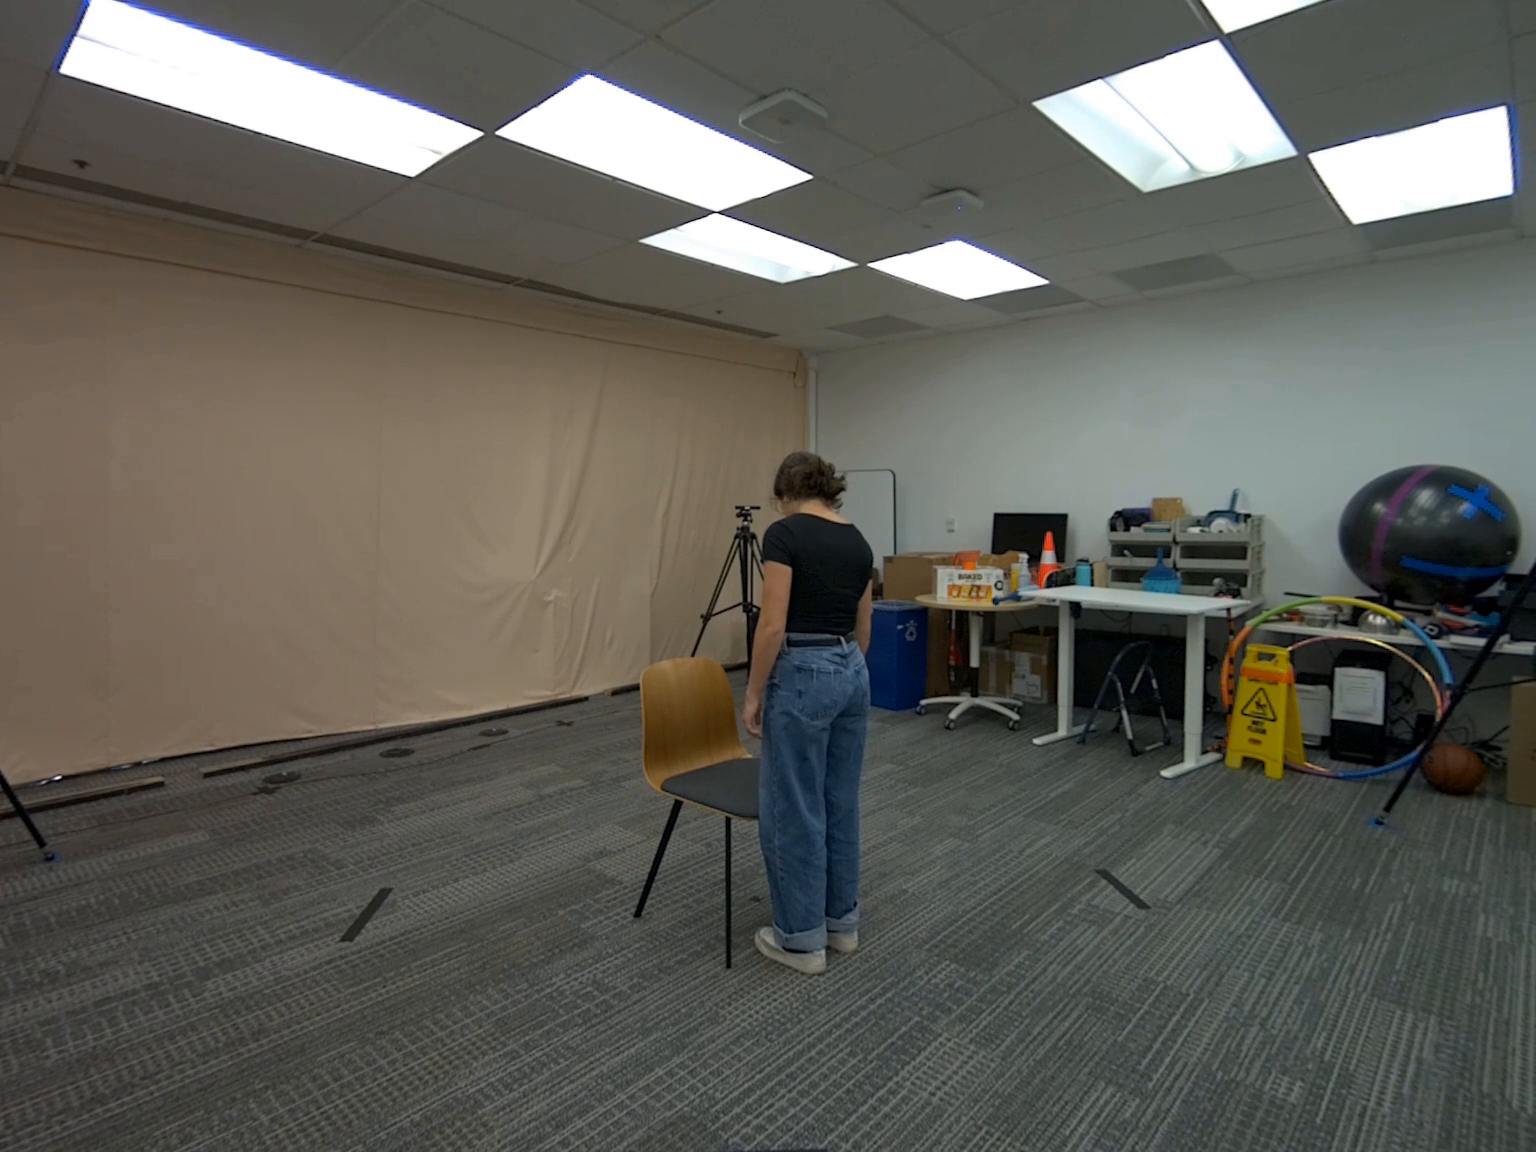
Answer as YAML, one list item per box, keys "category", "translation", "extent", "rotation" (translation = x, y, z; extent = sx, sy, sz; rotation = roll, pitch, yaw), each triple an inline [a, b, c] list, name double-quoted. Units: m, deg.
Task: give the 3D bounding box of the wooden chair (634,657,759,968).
- category: "wooden chair"
  translation: [-0.134, 0.736, 2.817]
  extent: [0.540, 0.877, 0.463]
  rotation: [-2, 1, 44]
